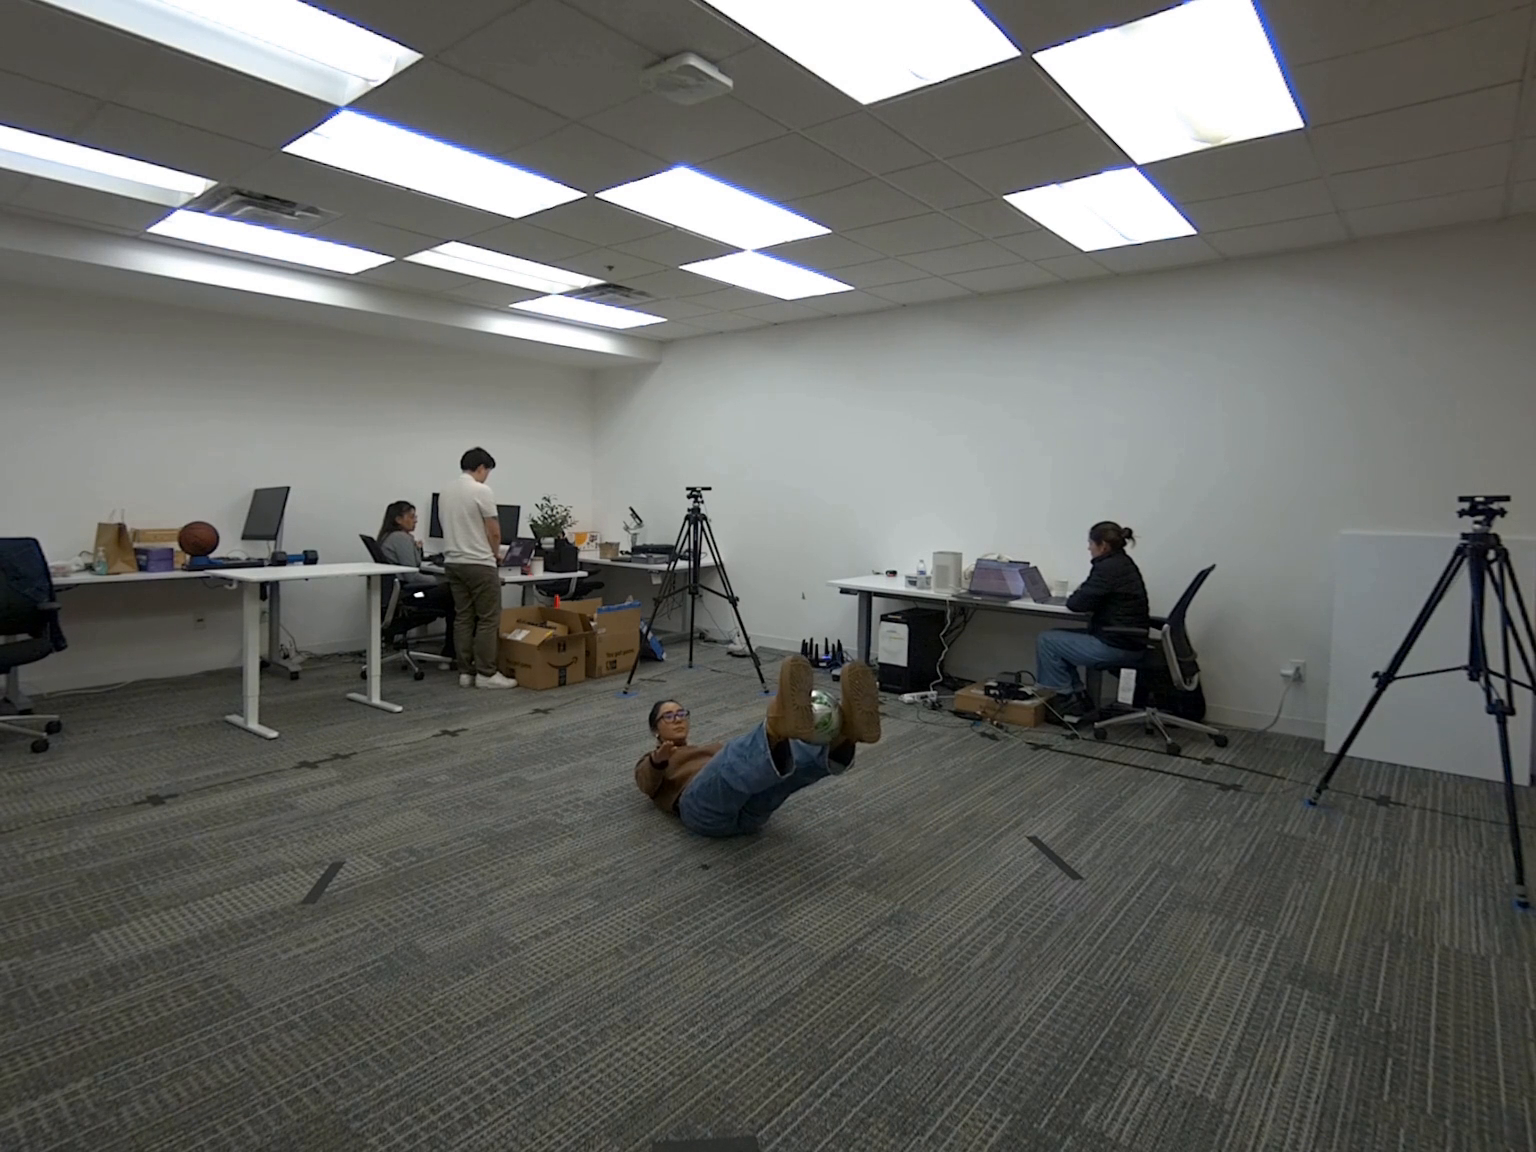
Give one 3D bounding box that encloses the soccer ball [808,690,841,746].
[{"bbox_3d":[0.161,0.490,2.942,0.187,0.187,0.188,1,4,-2],"label":"soccer ball"}]
